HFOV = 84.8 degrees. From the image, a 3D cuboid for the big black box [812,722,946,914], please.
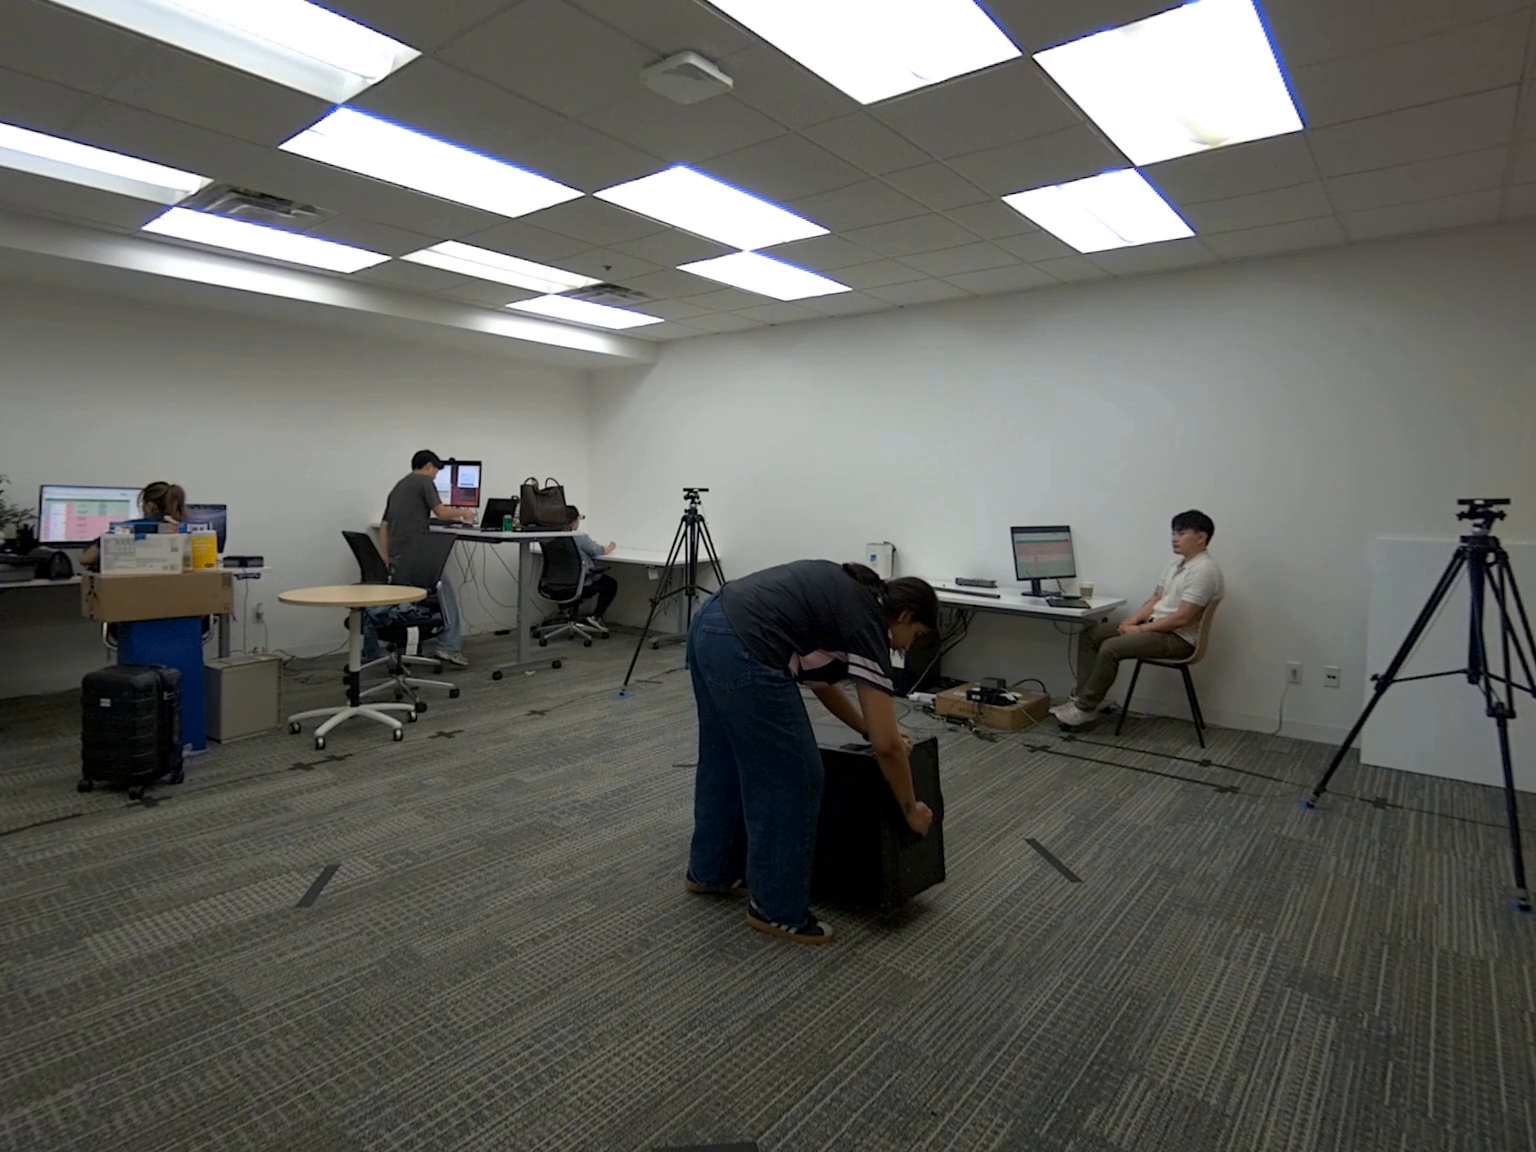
[{"bbox_3d":[0.151,0.791,3.066,0.895,0.523,0.374,-2,2,43],"label":"big black box"}]
